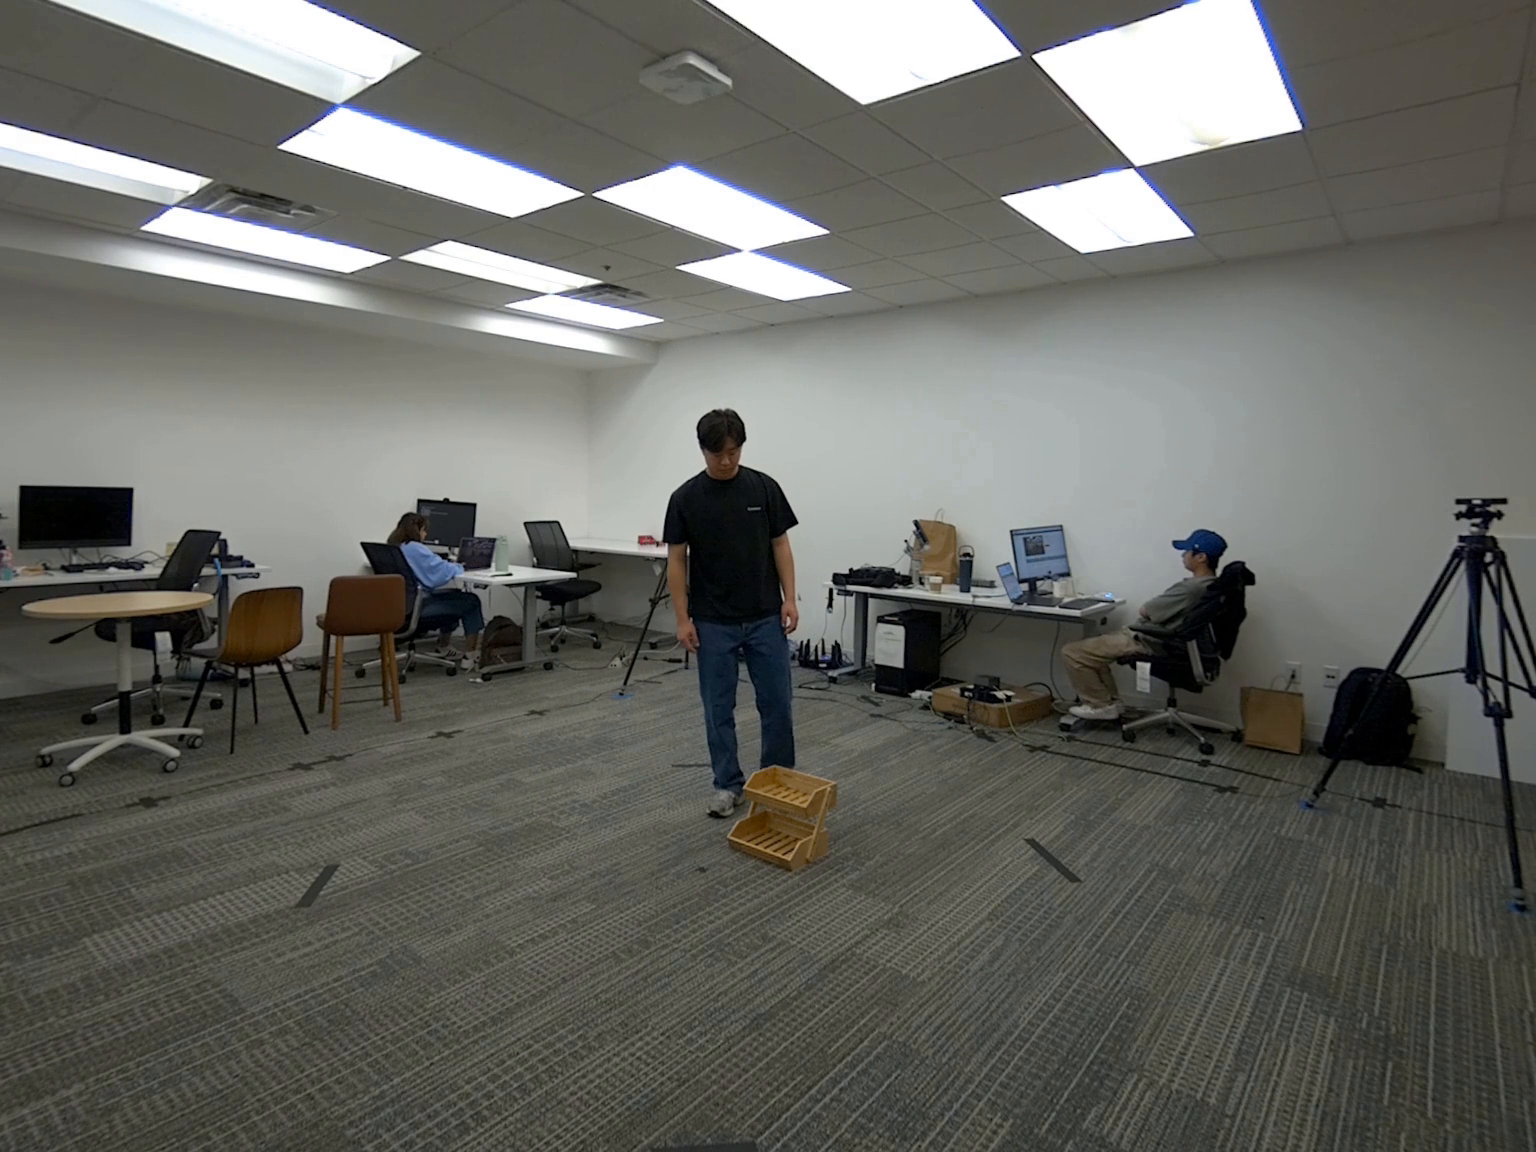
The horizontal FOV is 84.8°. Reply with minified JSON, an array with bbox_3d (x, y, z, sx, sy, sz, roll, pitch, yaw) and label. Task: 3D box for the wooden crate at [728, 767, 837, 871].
[{"bbox_3d":[0.049,0.923,3.303,0.335,0.272,0.293,5,5,38],"label":"wooden crate"}]
